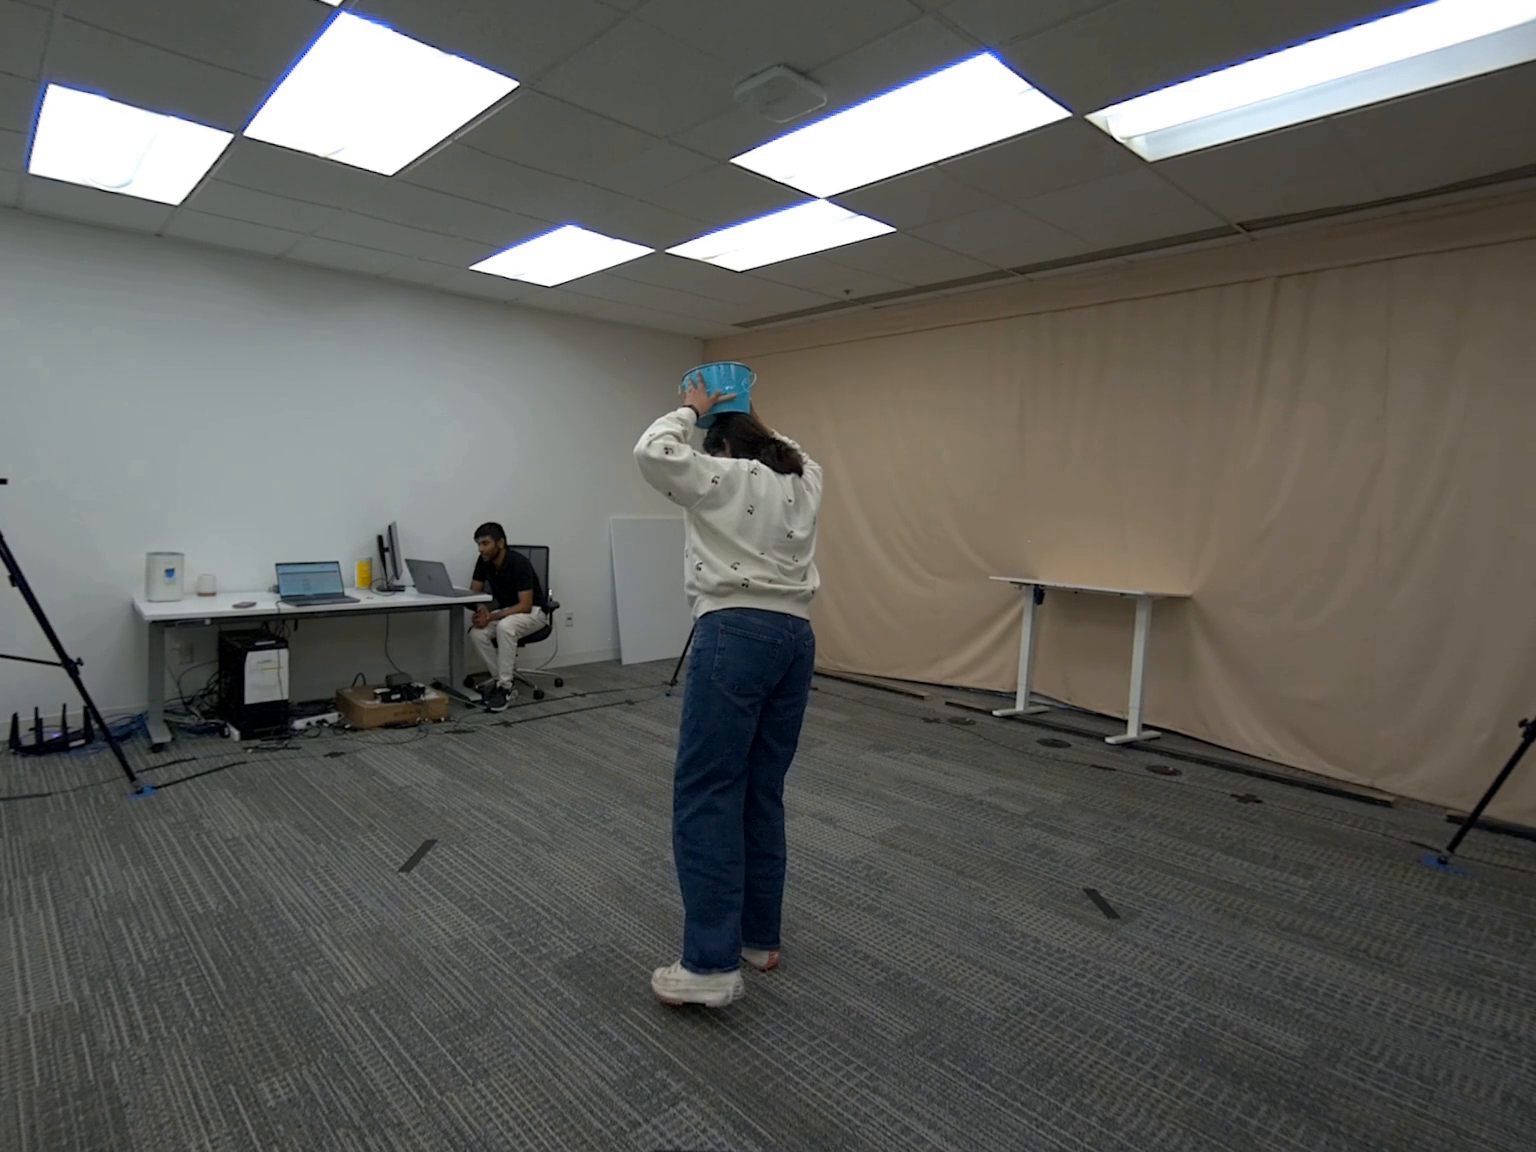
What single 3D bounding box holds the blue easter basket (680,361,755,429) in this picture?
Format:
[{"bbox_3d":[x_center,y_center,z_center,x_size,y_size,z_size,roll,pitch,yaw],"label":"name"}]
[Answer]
[{"bbox_3d":[-0.168,-0.574,2.714,0.243,0.157,0.242,-7,-10,-3],"label":"blue easter basket"}]
